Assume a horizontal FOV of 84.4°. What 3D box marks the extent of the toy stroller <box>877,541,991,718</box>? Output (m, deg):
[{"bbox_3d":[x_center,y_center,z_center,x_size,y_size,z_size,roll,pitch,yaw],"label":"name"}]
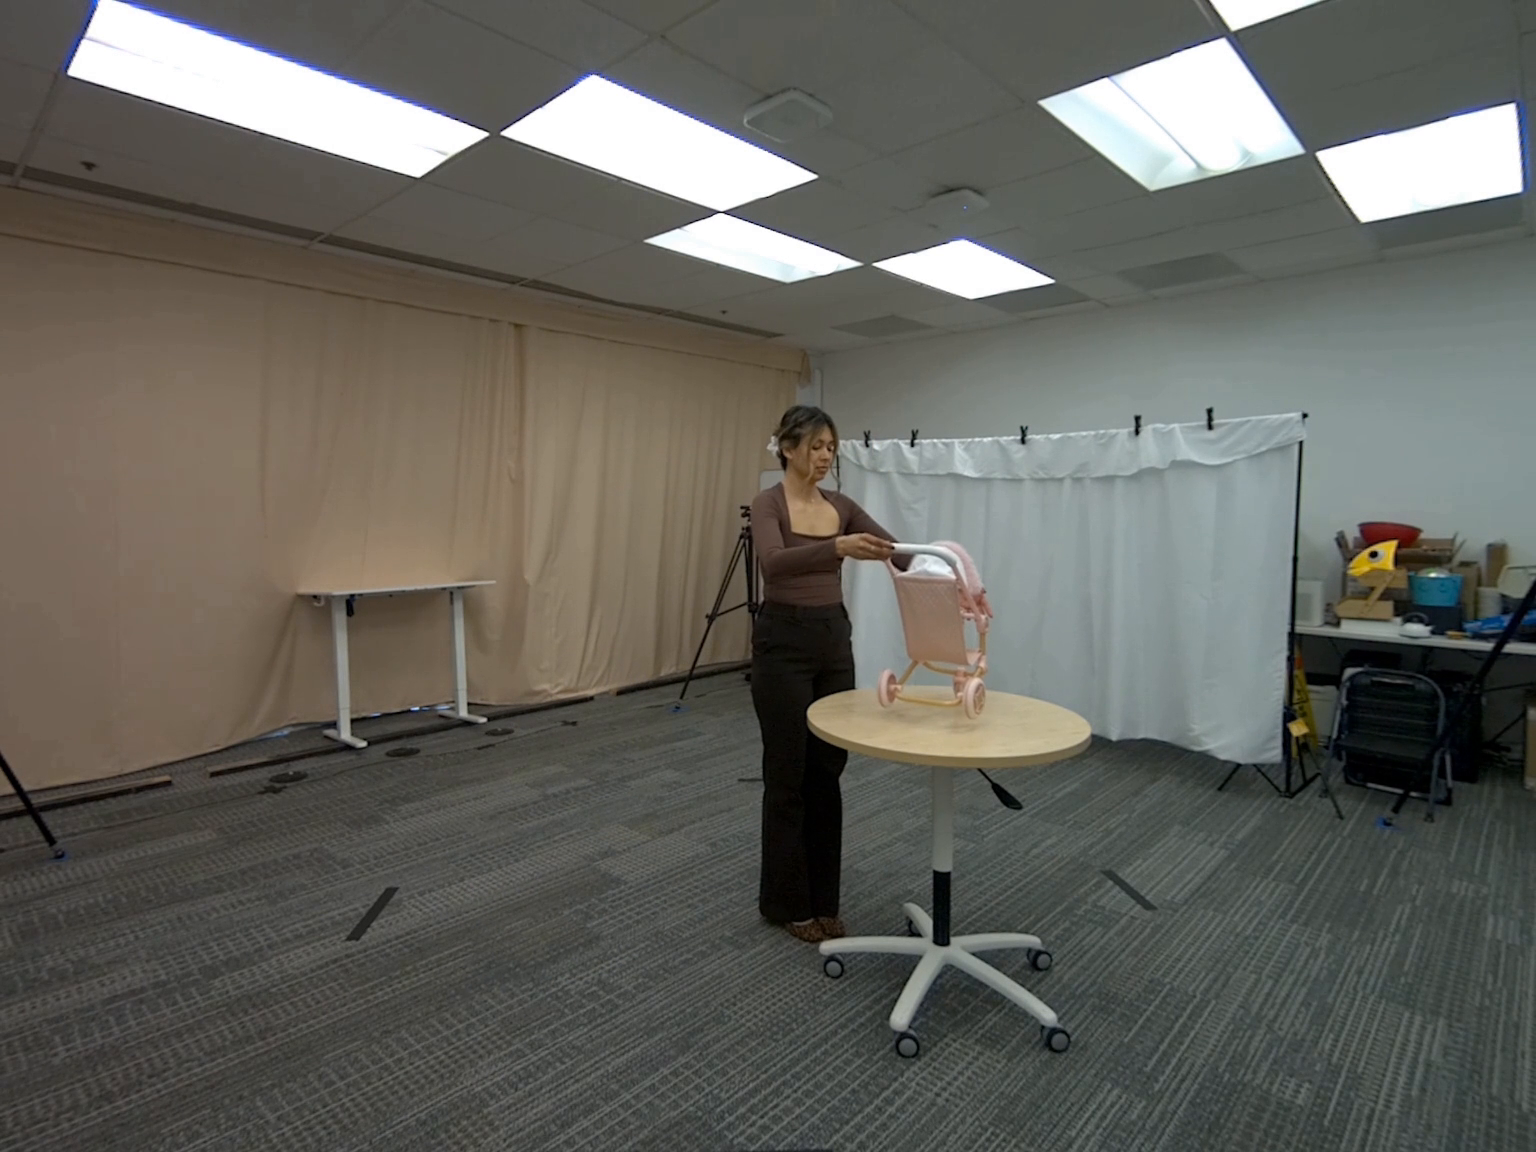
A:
[{"bbox_3d":[0.492,0.147,2.351,0.290,0.531,0.333,2,13,39],"label":"toy stroller"}]
